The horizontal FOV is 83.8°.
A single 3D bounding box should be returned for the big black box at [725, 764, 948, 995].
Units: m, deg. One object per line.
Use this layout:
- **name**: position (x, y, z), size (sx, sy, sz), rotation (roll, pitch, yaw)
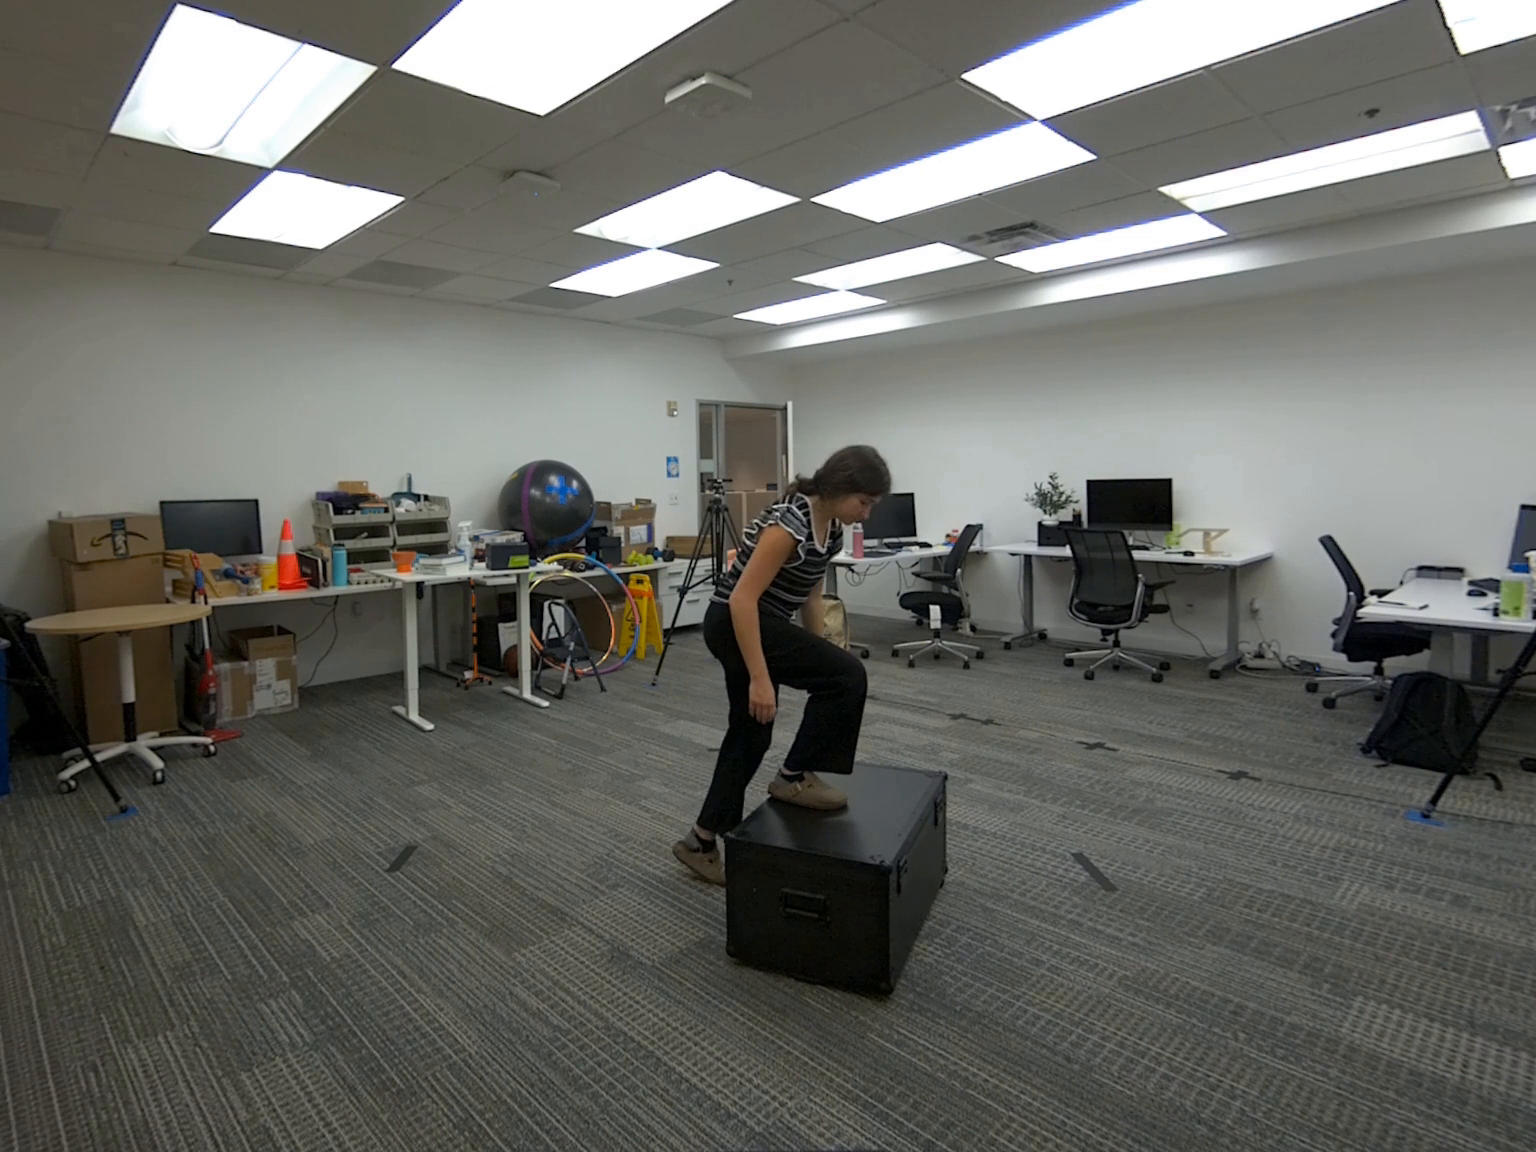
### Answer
- **big black box**: position (0.266, 0.893, 2.729), size (0.533, 0.394, 0.847), rotation (0, 7, 23)
